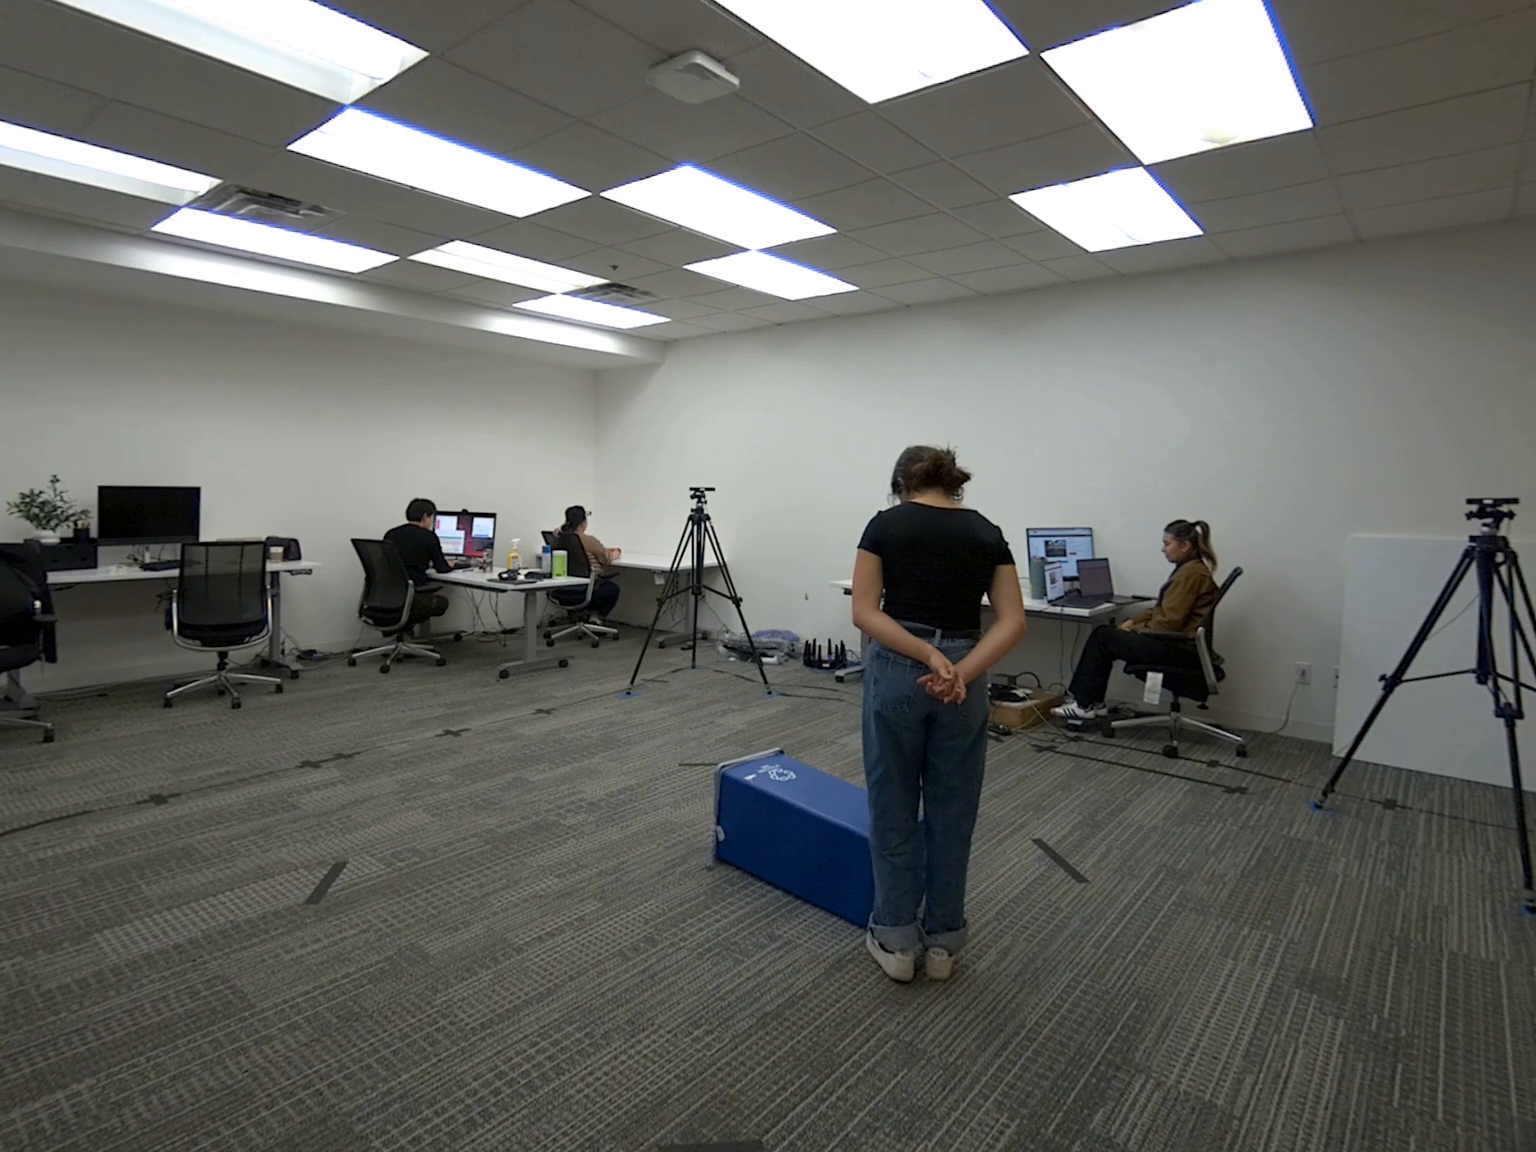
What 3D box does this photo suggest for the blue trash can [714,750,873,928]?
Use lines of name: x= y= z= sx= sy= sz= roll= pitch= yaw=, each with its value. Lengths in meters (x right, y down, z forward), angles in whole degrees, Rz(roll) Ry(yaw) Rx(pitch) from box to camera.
blue trash can: x=0.167 y=0.916 z=3.020 sx=0.740 sy=0.376 sz=0.363 roll=10 pitch=9 yaw=44
